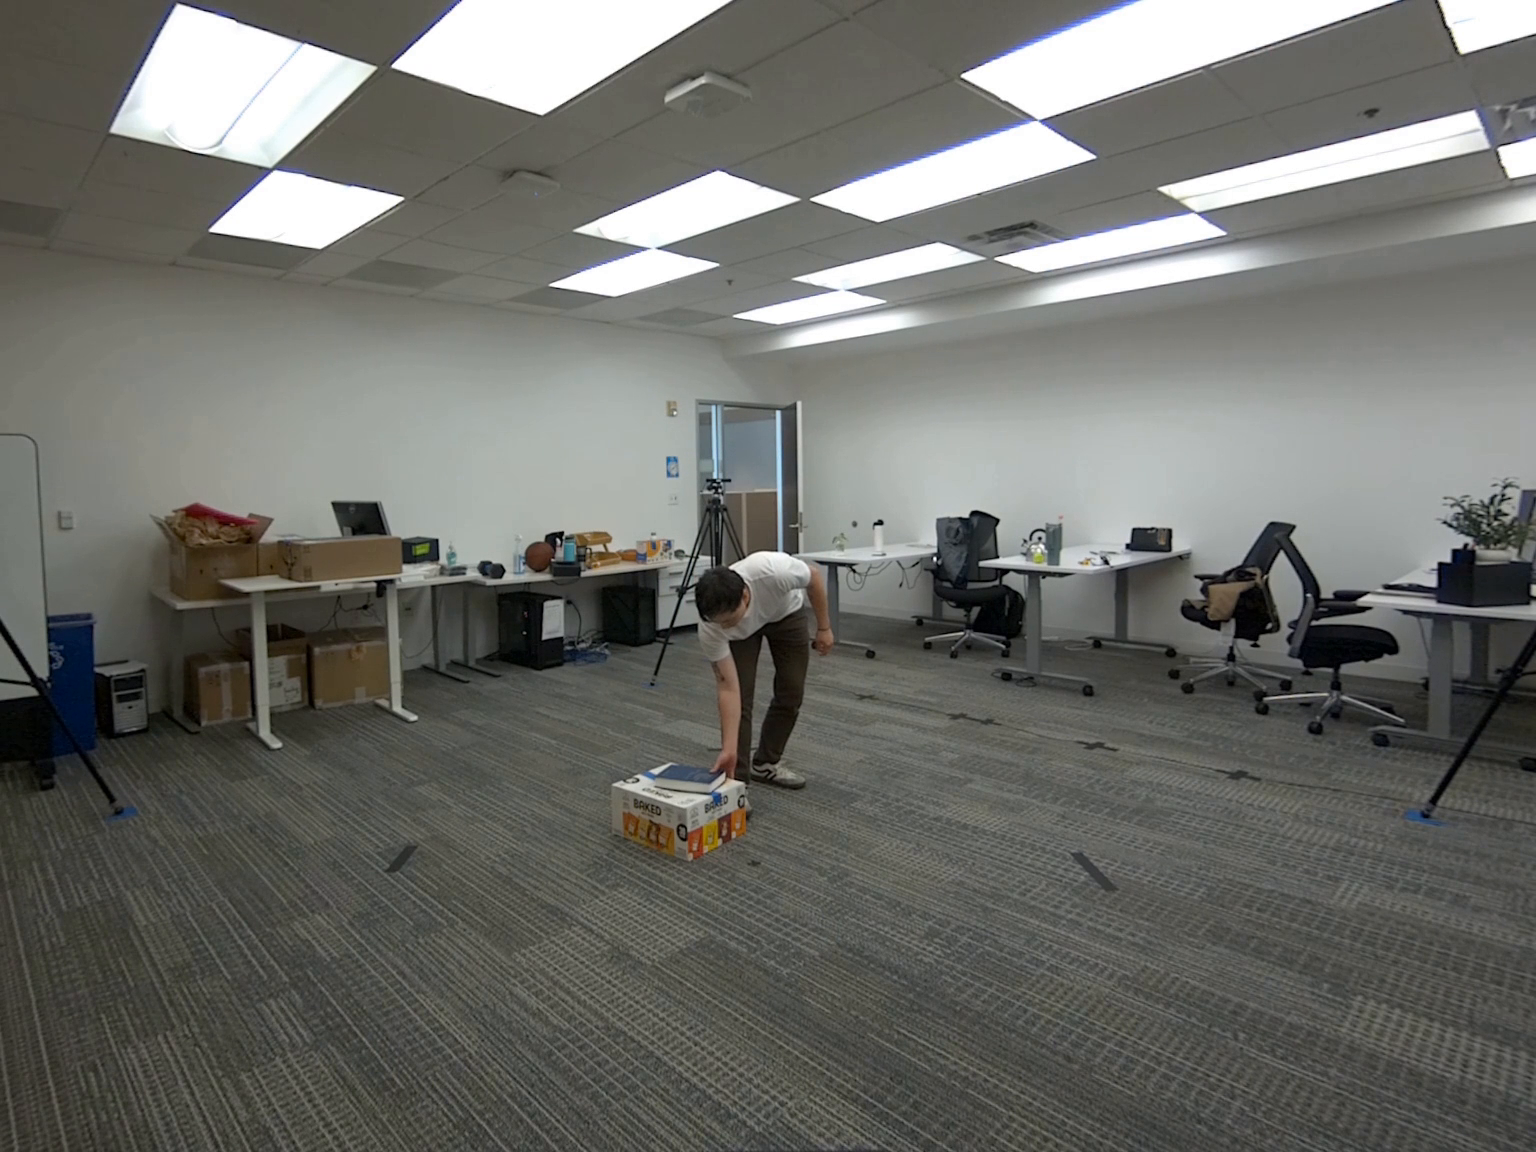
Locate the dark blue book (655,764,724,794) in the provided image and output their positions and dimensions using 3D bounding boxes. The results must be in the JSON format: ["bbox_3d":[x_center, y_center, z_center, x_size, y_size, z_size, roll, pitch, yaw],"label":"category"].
[{"bbox_3d":[-0.306,0.803,3.388,0.250,0.045,0.161,1,7,22],"label":"dark blue book"}]
